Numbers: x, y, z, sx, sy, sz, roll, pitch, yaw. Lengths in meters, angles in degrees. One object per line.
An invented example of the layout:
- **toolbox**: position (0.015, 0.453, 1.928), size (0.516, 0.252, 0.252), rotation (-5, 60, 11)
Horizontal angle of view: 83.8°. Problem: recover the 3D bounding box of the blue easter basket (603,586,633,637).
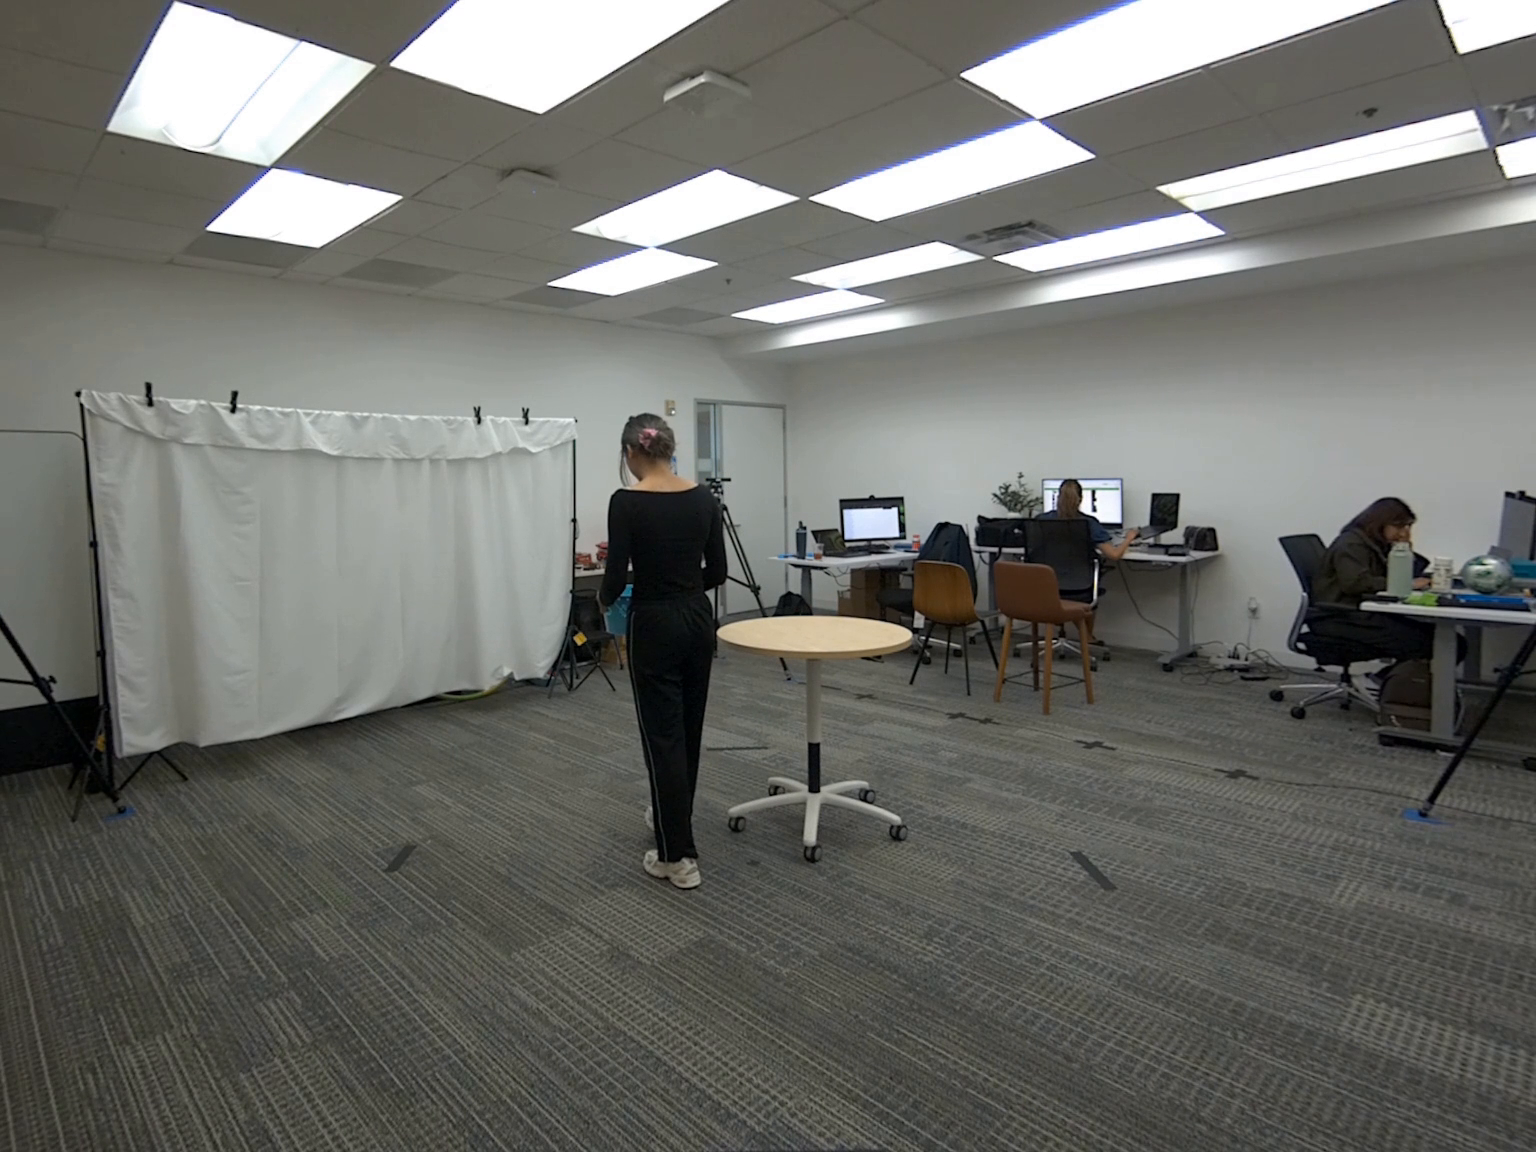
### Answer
- **blue easter basket**: position (-0.516, 0.137, 3.228), size (0.243, 0.155, 0.245), rotation (-2, 7, -1)
